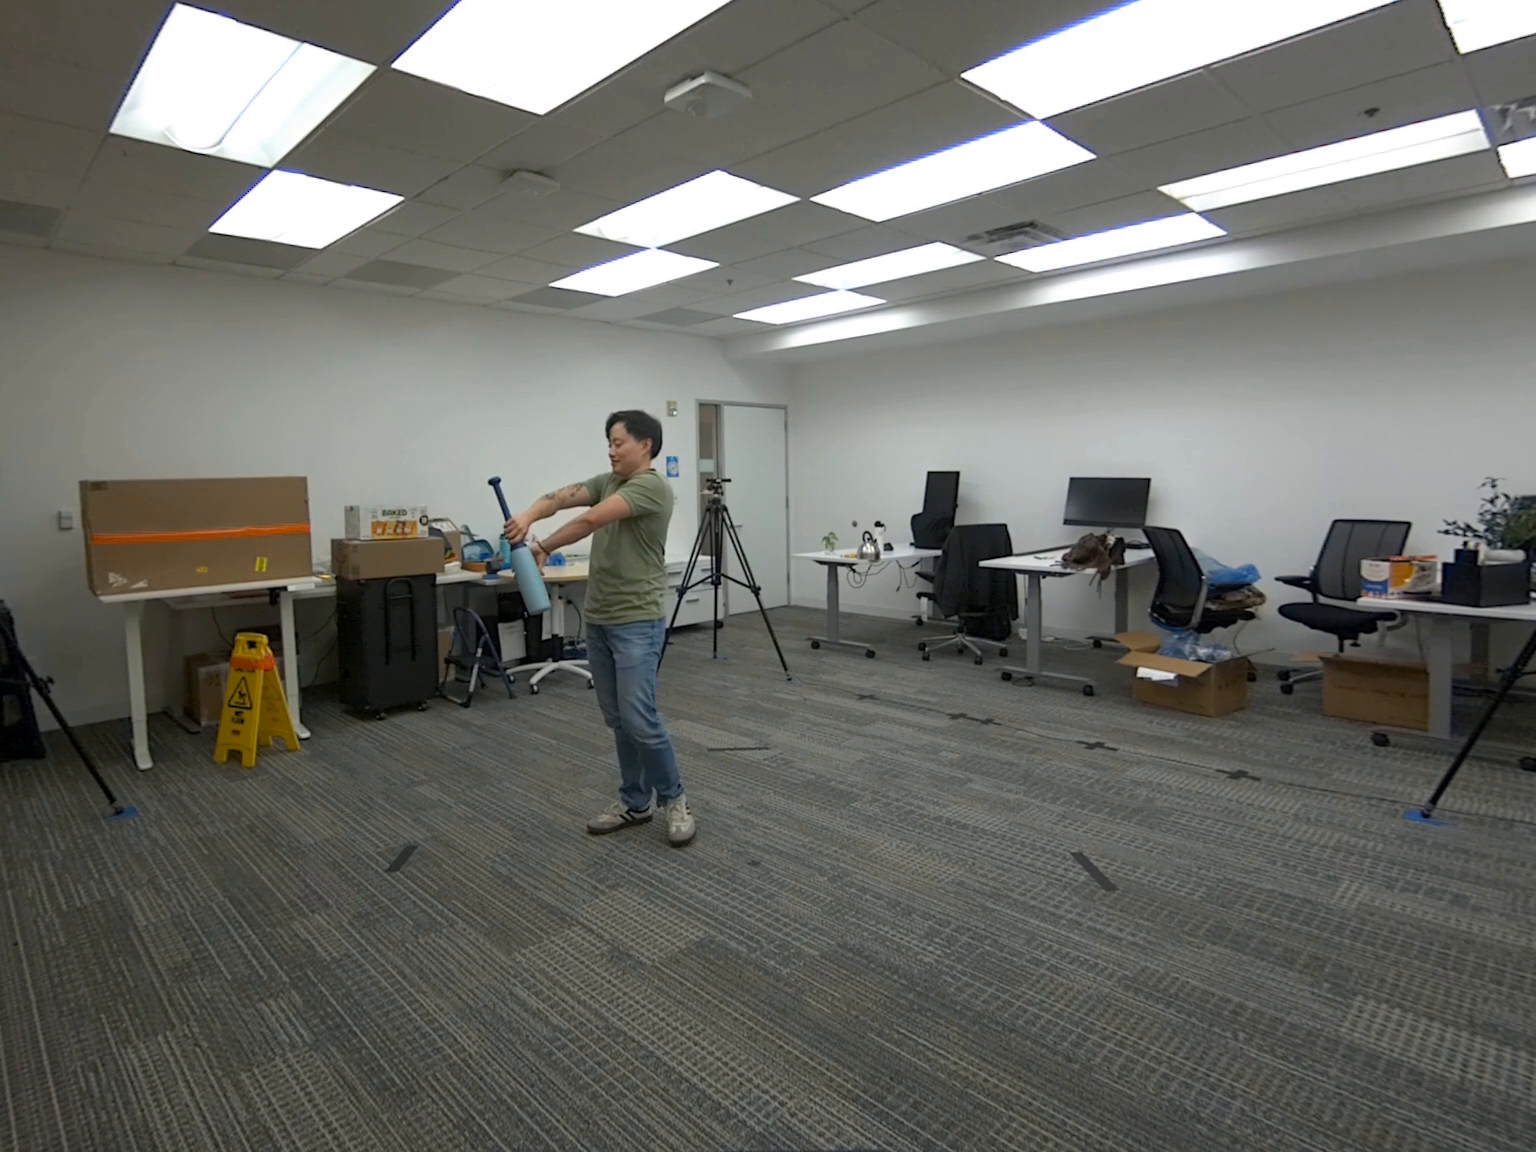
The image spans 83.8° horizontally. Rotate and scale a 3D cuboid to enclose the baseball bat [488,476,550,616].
[{"bbox_3d":[-0.937,-0.122,3.203,0.089,0.546,0.088,-20,-5,-3],"label":"baseball bat"}]
